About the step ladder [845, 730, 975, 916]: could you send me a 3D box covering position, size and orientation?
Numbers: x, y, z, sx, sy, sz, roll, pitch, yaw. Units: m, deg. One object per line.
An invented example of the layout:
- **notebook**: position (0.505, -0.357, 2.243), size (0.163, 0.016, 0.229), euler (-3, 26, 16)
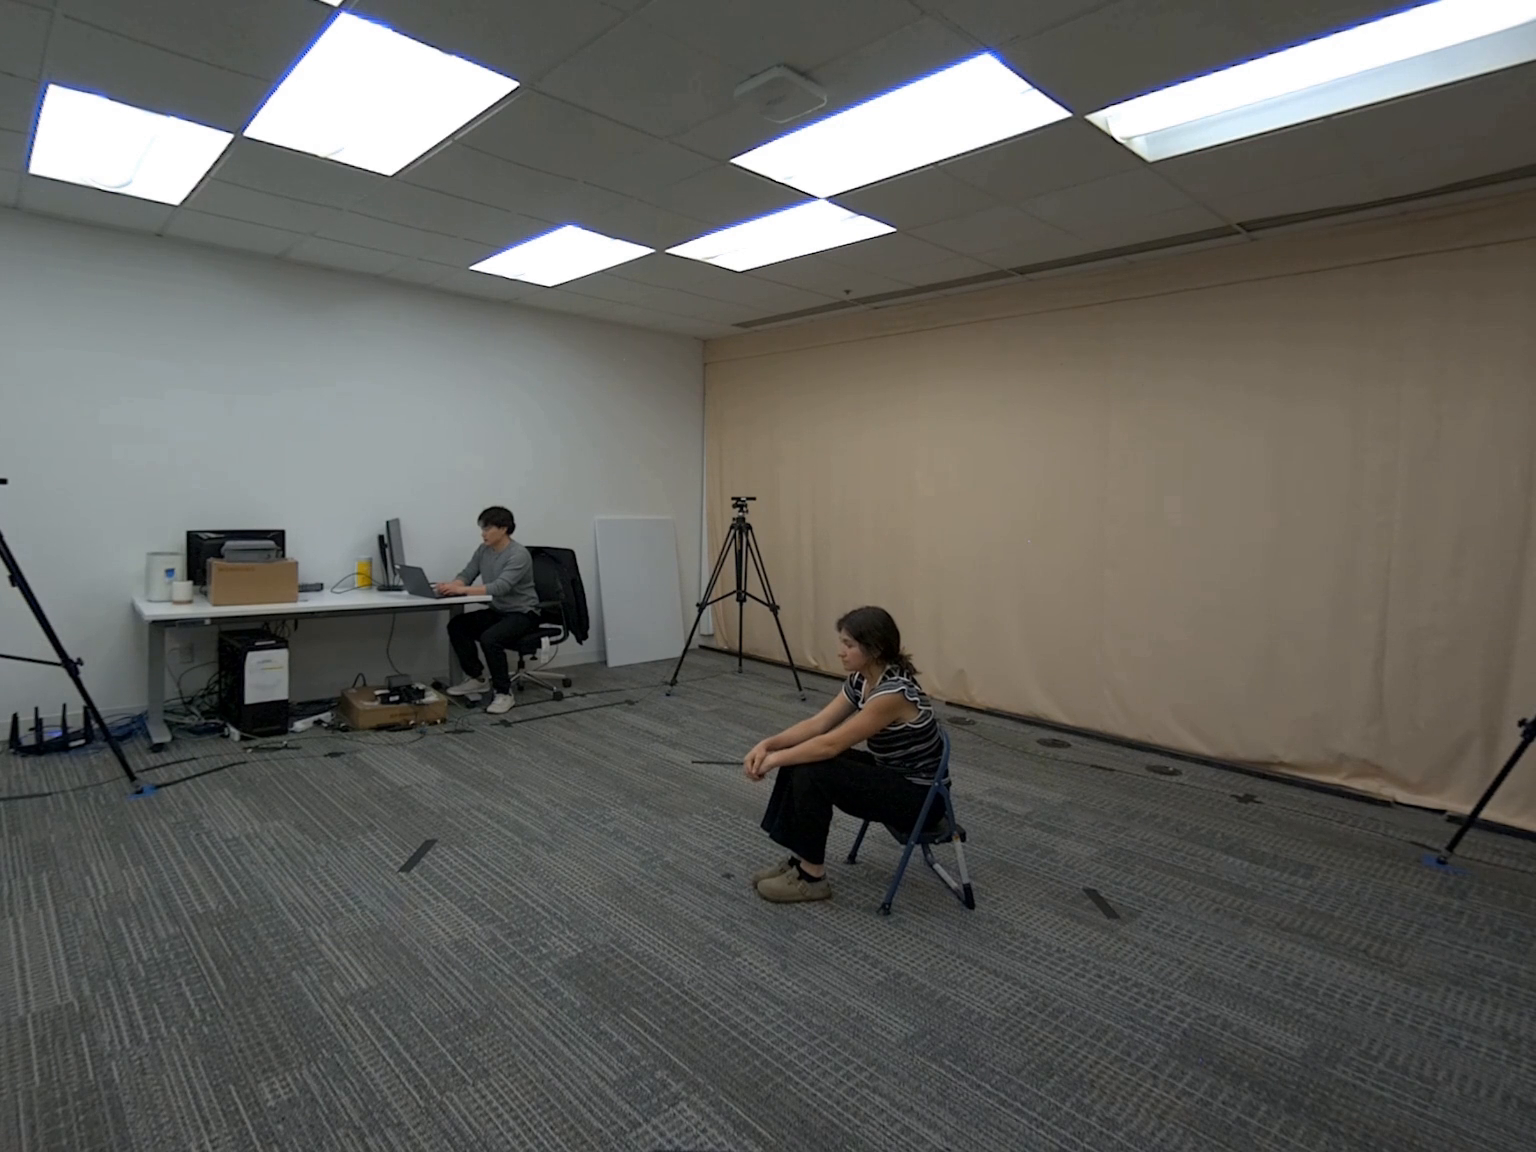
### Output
- **step ladder**: position (0.506, 0.832, 3.055), size (0.346, 0.604, 0.435), euler (1, 5, -10)
